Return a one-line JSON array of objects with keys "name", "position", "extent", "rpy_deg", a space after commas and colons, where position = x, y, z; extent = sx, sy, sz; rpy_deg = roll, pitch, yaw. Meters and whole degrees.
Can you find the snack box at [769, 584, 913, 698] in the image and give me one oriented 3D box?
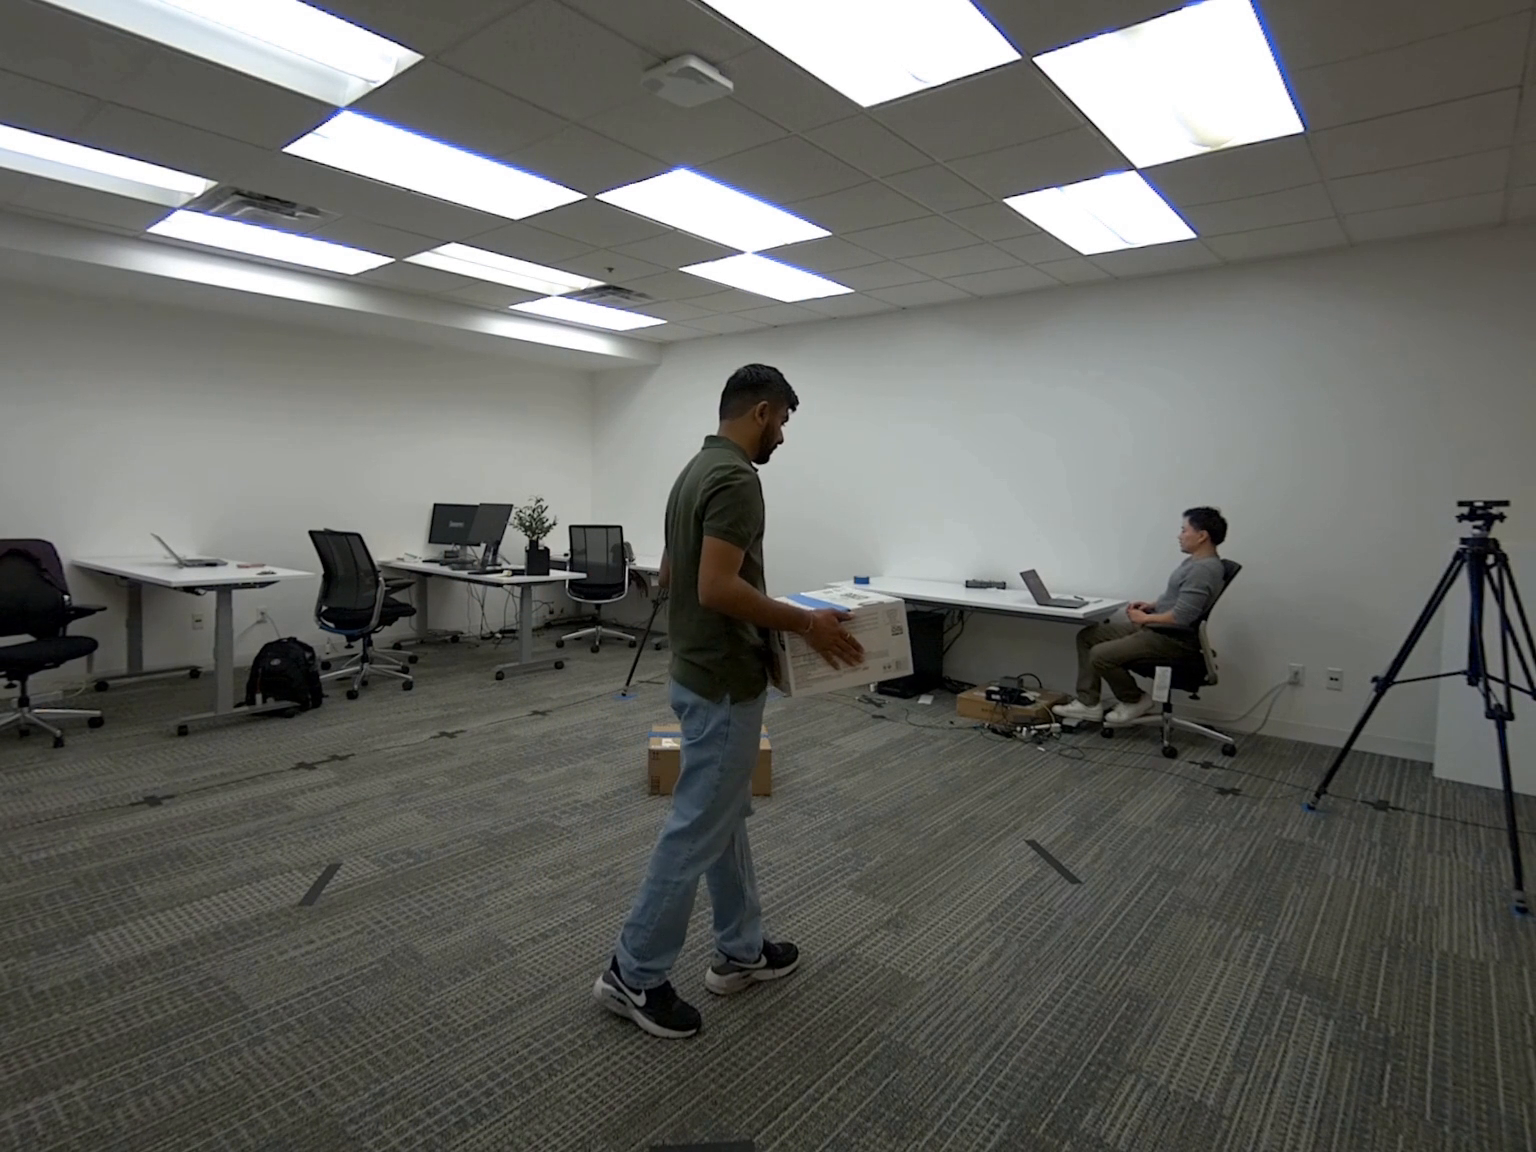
[{"name": "snack box", "position": [0.136, 0.174, 2.367], "extent": [0.336, 0.204, 0.413], "rpy_deg": [-10, 7, -15]}]
